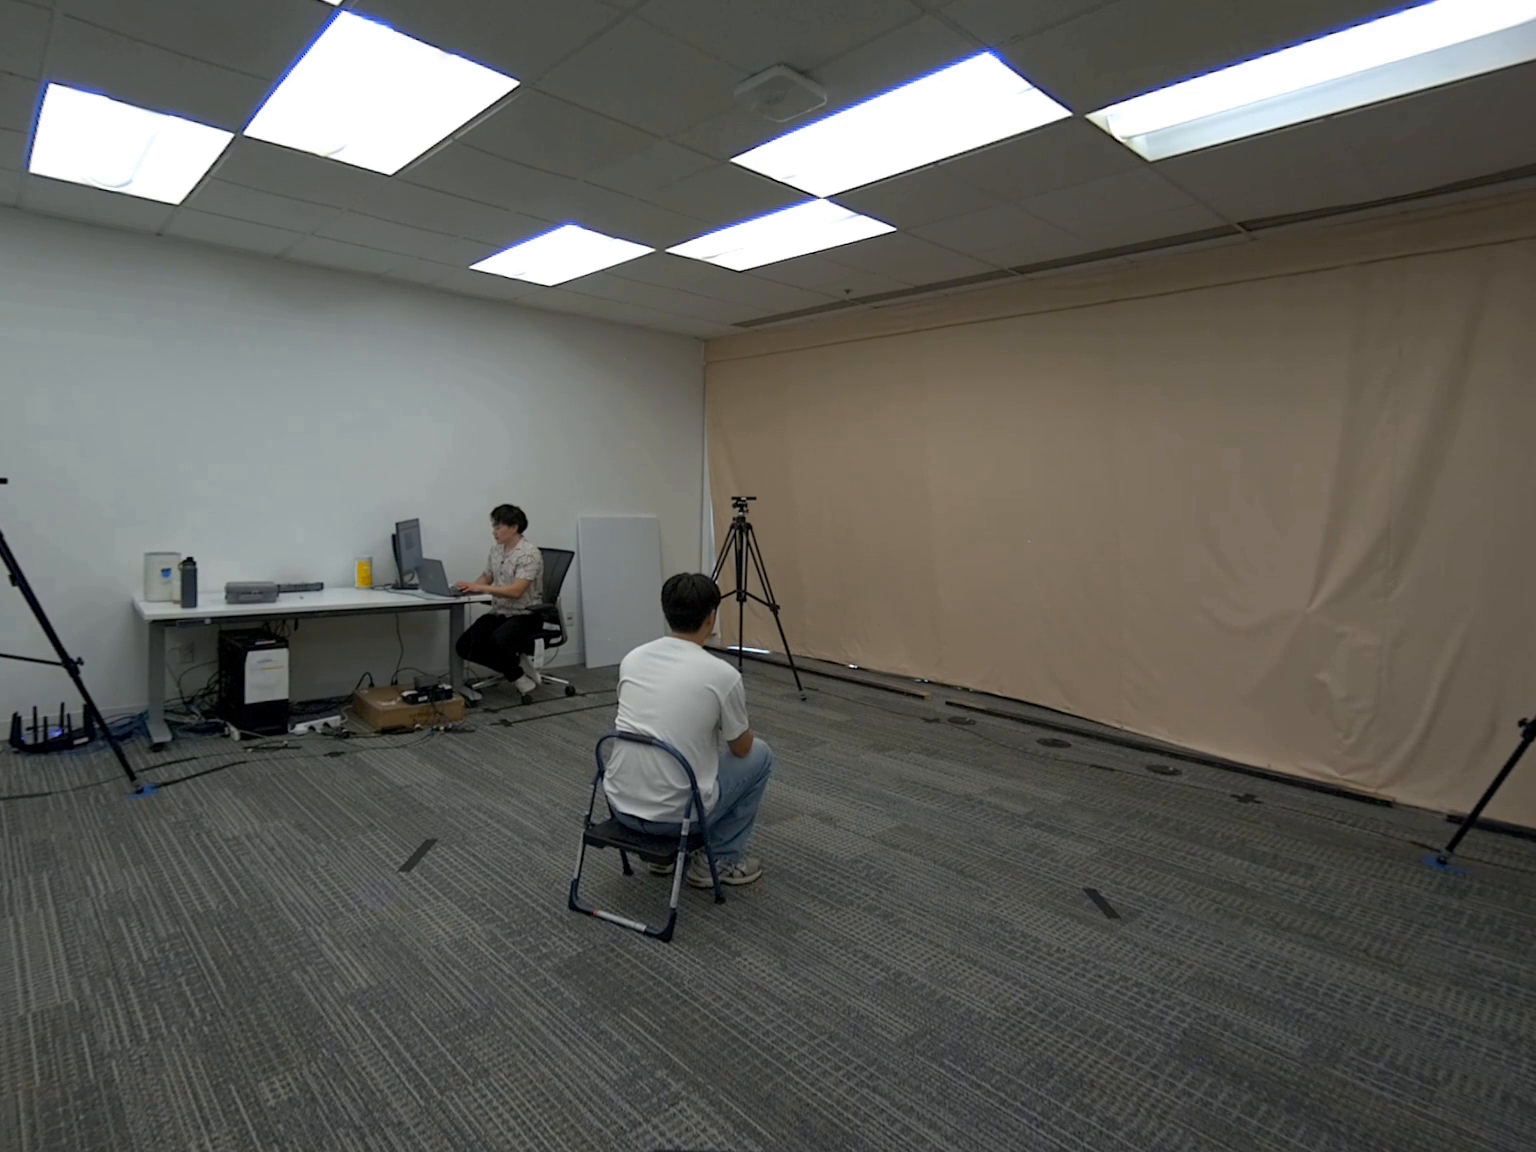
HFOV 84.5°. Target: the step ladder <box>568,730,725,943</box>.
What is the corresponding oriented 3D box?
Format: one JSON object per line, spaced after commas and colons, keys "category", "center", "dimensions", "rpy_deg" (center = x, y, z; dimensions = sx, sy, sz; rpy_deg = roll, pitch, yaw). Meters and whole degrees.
{"category": "step ladder", "center": [-0.418, 0.825, 2.848], "dimensions": [0.440, 0.604, 0.343], "rpy_deg": [3, 4, 29]}
